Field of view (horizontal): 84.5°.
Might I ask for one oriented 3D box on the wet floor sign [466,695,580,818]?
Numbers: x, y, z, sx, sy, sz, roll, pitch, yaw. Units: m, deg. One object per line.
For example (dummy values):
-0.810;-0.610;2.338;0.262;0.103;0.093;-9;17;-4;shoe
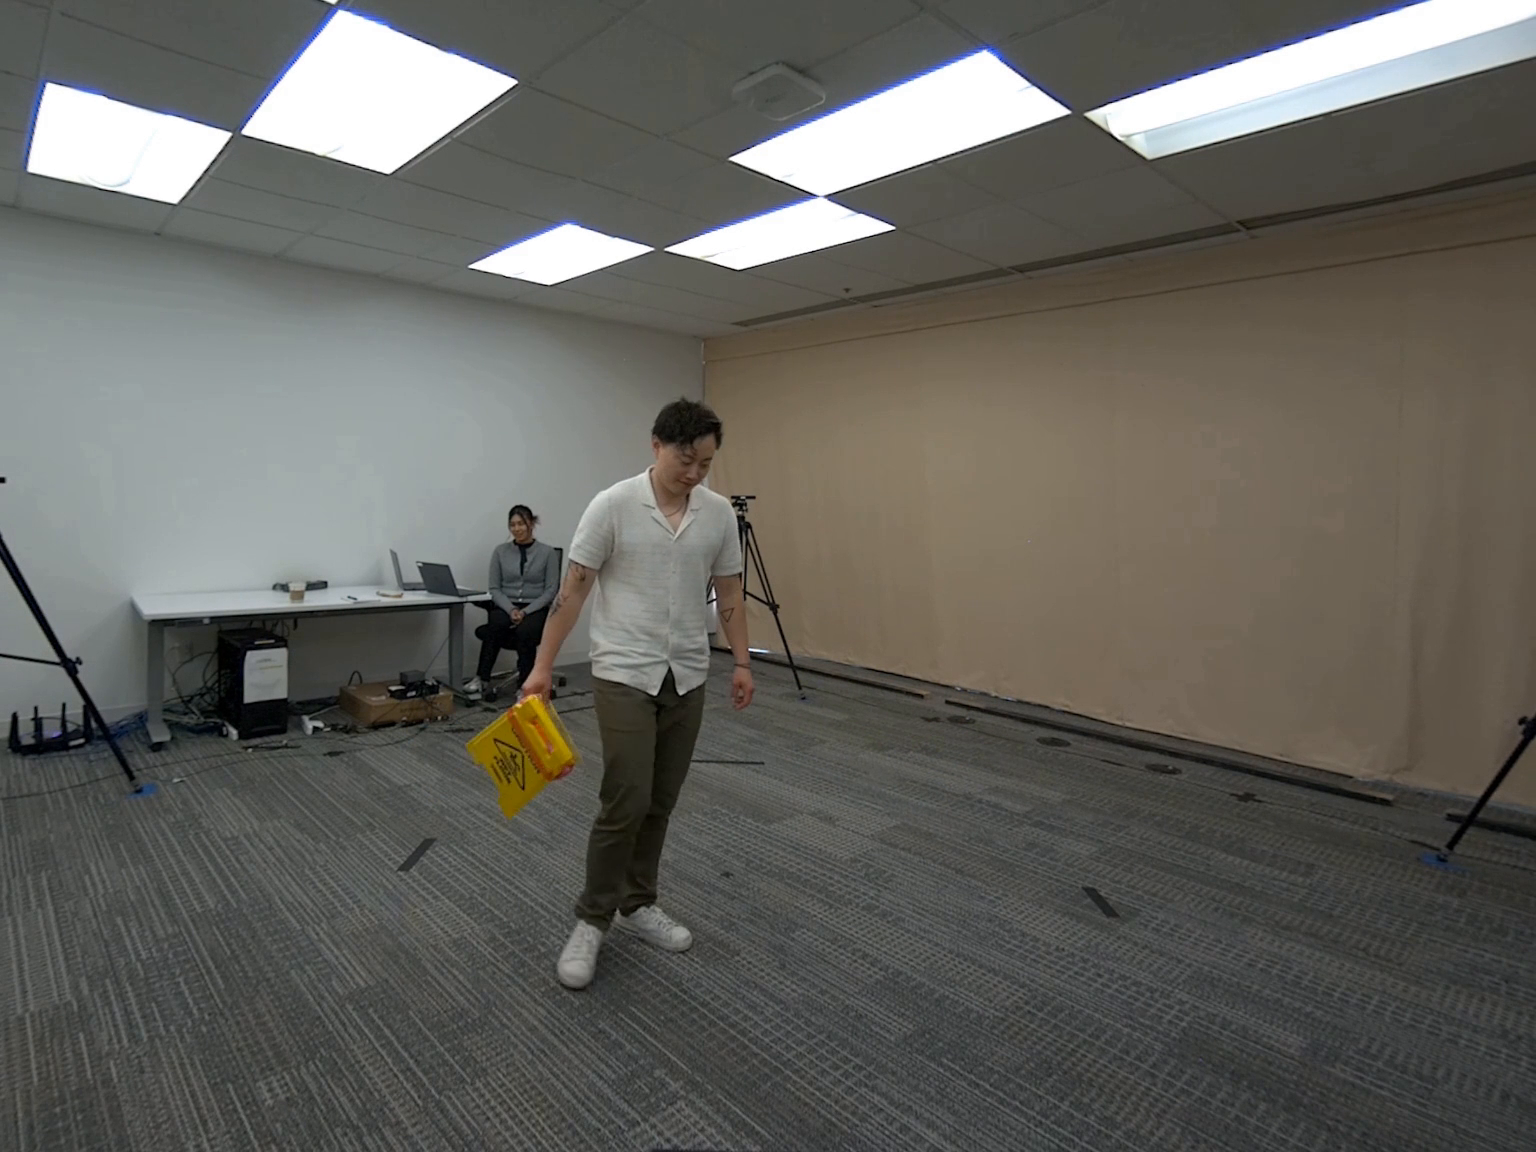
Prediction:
-0.688;0.497;2.495;0.287;0.284;0.647;-31;-5;-27;wet floor sign
